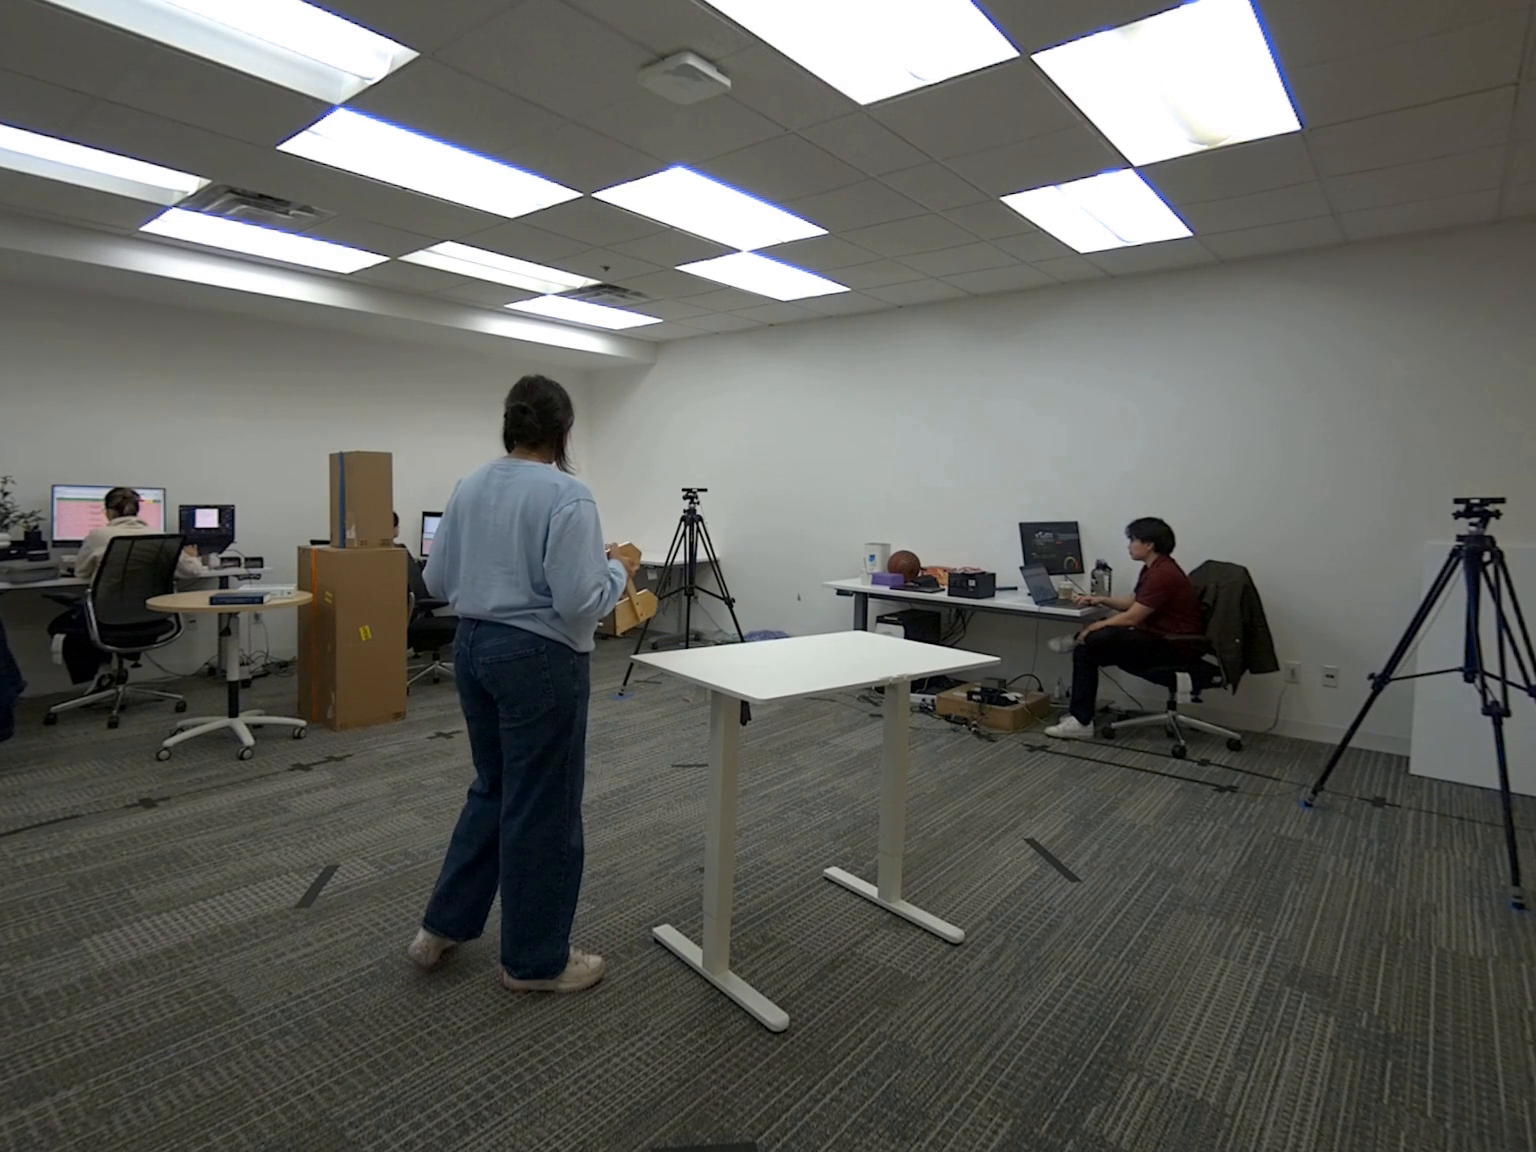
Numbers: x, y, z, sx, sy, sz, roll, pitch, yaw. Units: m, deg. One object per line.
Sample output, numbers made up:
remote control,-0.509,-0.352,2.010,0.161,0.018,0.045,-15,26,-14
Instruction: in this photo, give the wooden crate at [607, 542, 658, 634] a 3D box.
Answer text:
wooden crate,-0.553,0.006,2.609,0.333,0.270,0.298,5,14,24
